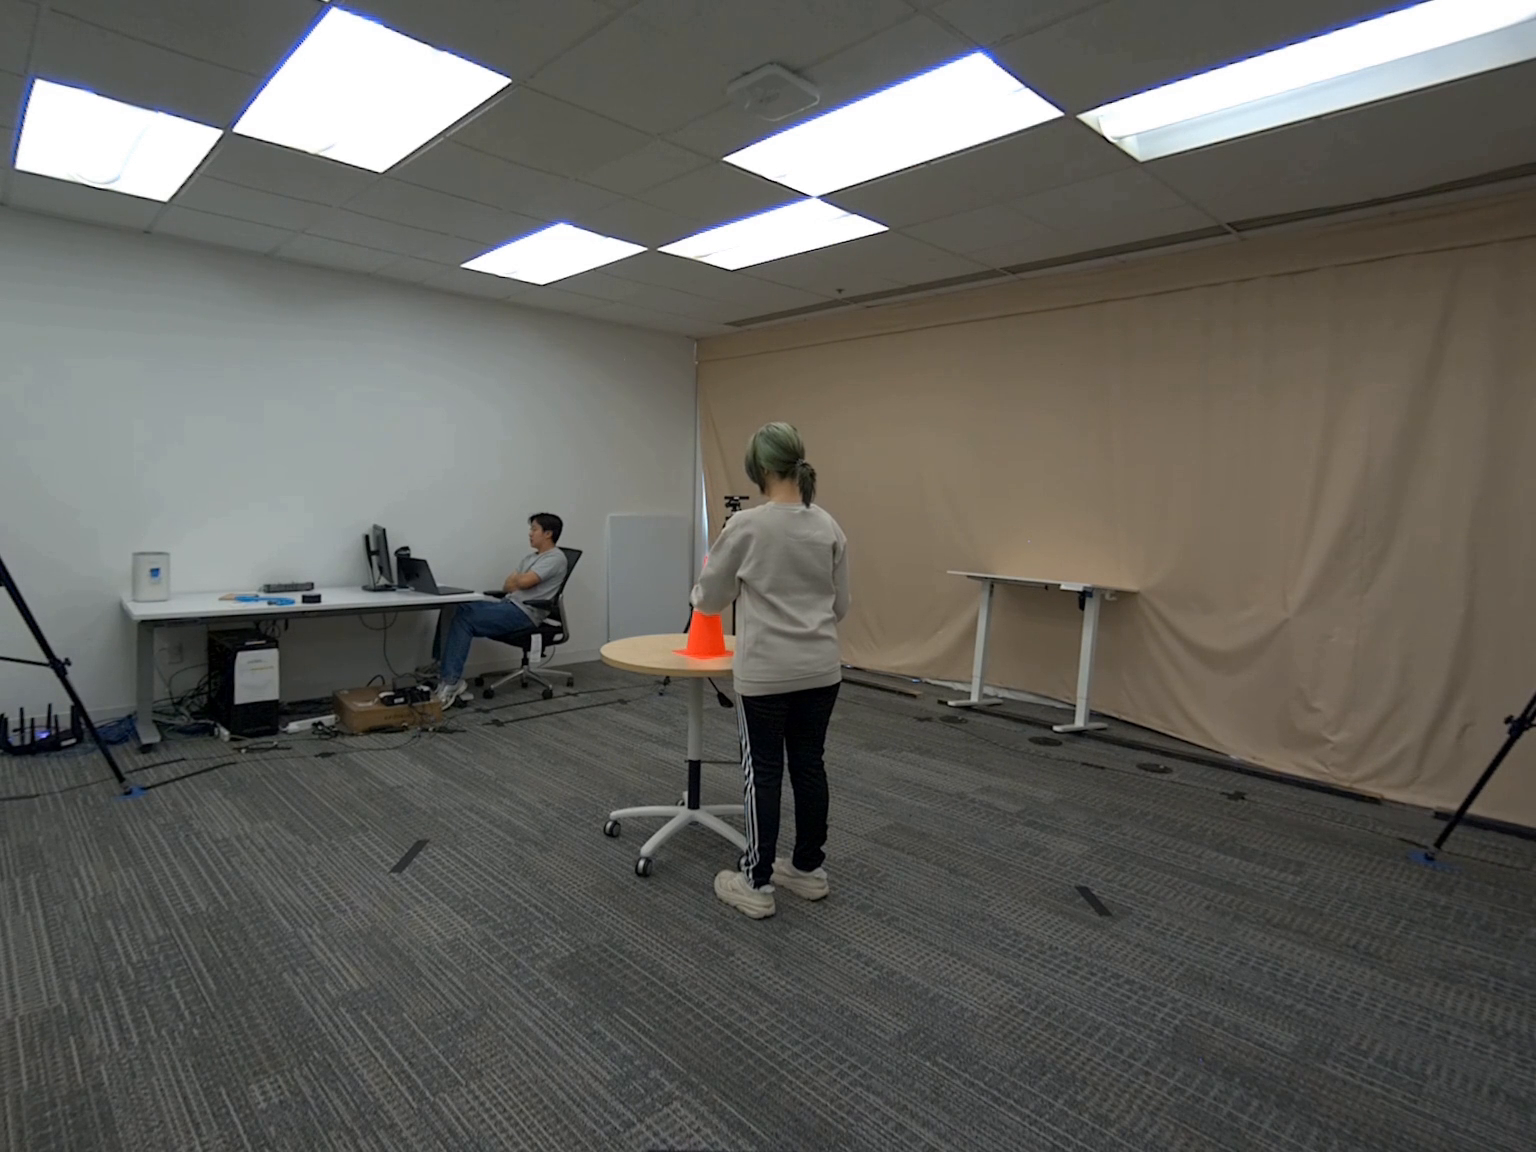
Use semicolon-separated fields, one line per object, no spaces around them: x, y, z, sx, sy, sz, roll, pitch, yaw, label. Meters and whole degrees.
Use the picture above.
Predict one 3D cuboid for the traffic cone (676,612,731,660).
-0.243;0.116;3.276;0.208;0.382;0.201;6;7;34;traffic cone
